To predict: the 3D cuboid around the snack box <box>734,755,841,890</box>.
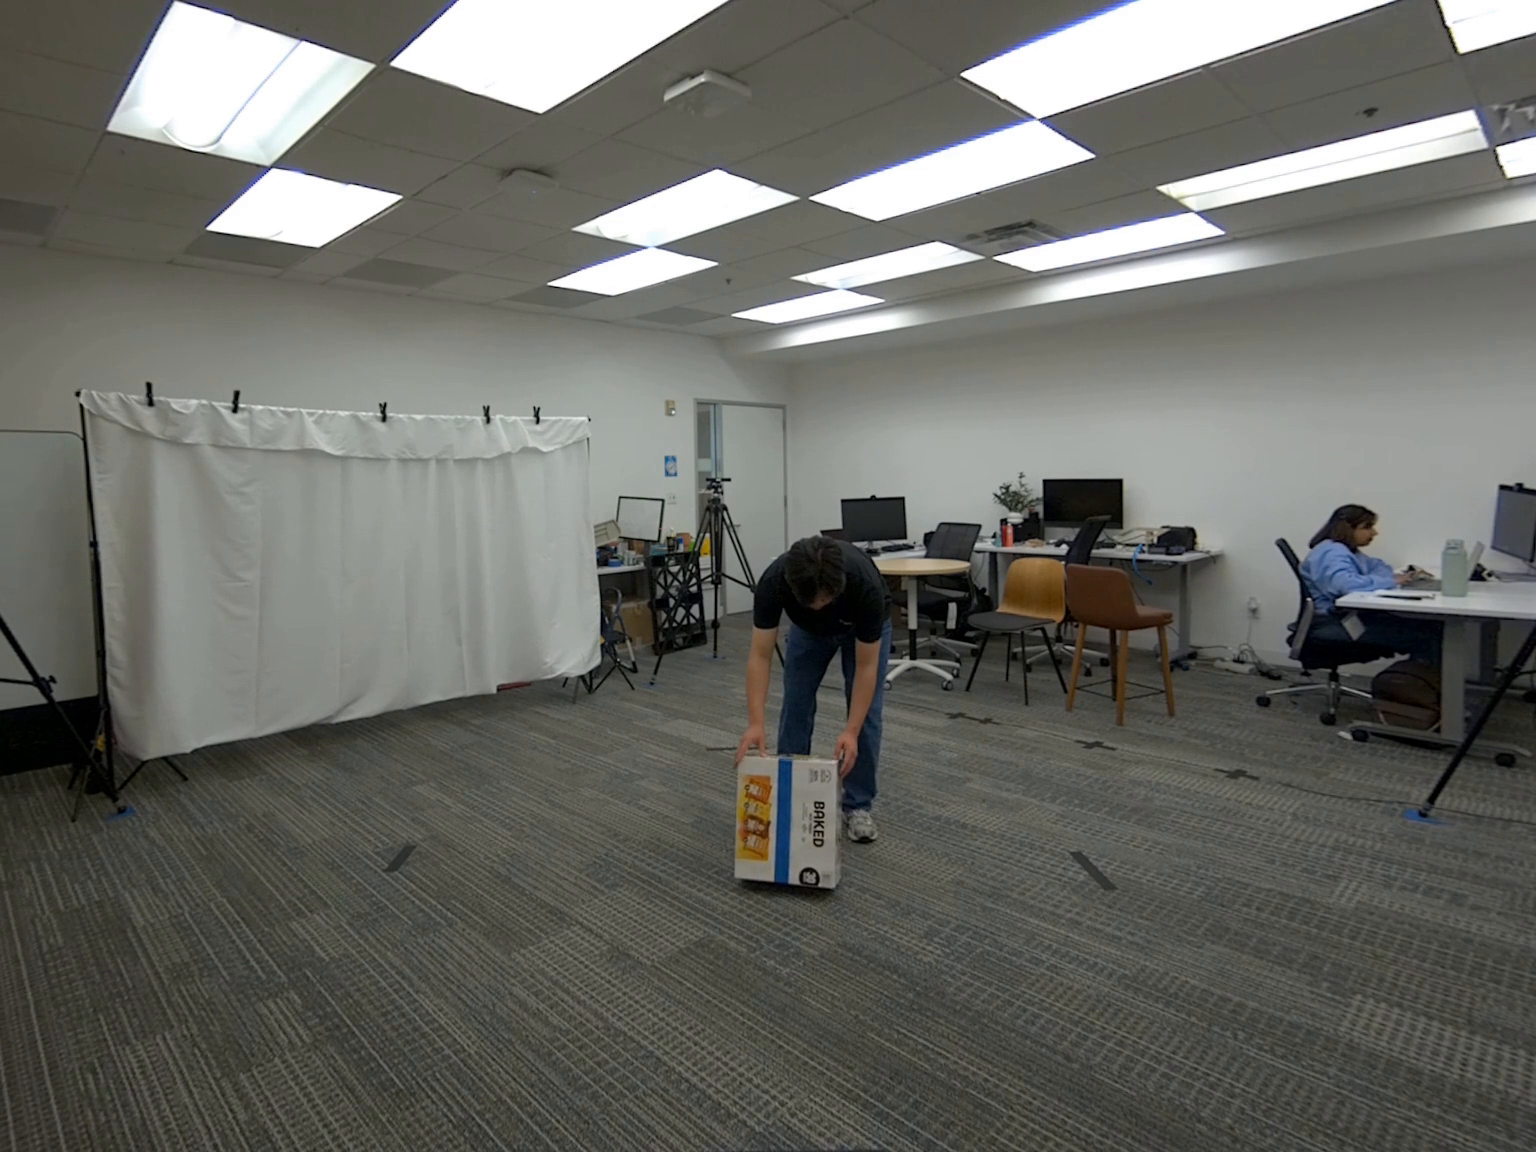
[{"bbox_3d":[0.081,0.838,2.973,0.345,0.408,0.201,0,-9,14],"label":"snack box"}]
